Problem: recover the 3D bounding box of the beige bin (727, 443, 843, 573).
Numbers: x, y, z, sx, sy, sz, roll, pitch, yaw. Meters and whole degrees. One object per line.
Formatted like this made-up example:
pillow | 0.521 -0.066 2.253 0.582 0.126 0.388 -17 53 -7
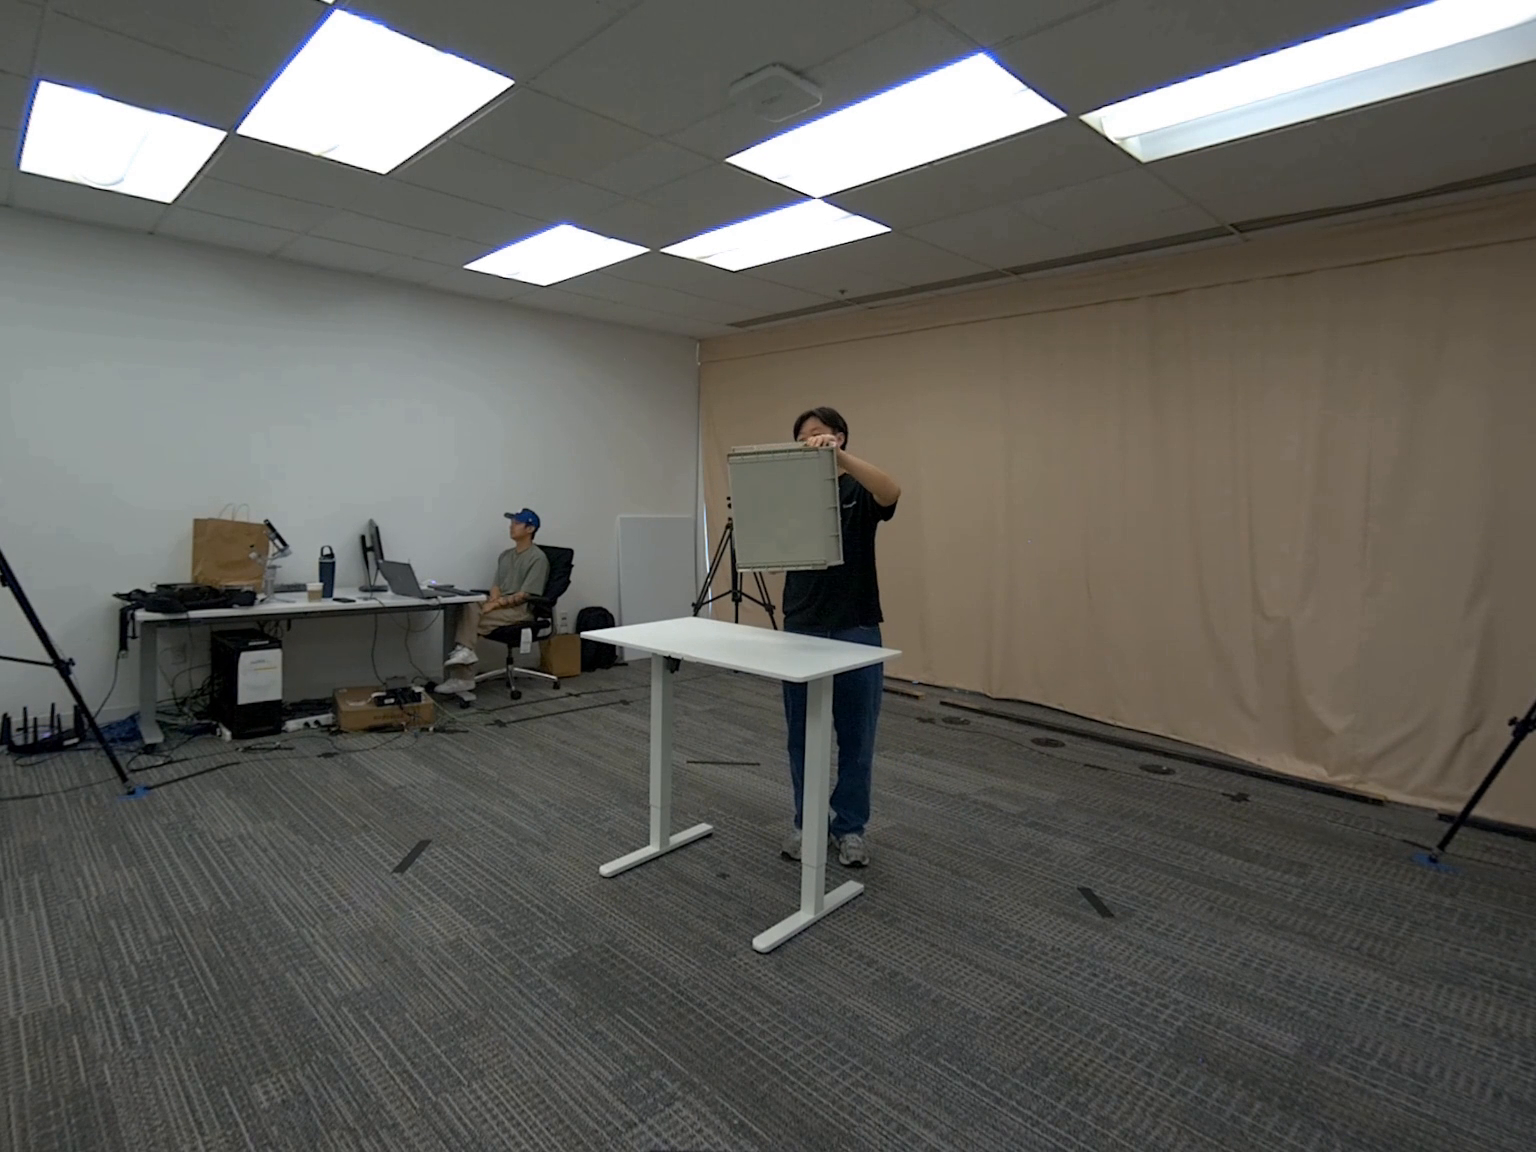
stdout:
beige bin | 0.057 -0.239 2.932 0.380 0.418 0.189 -4 11 9
